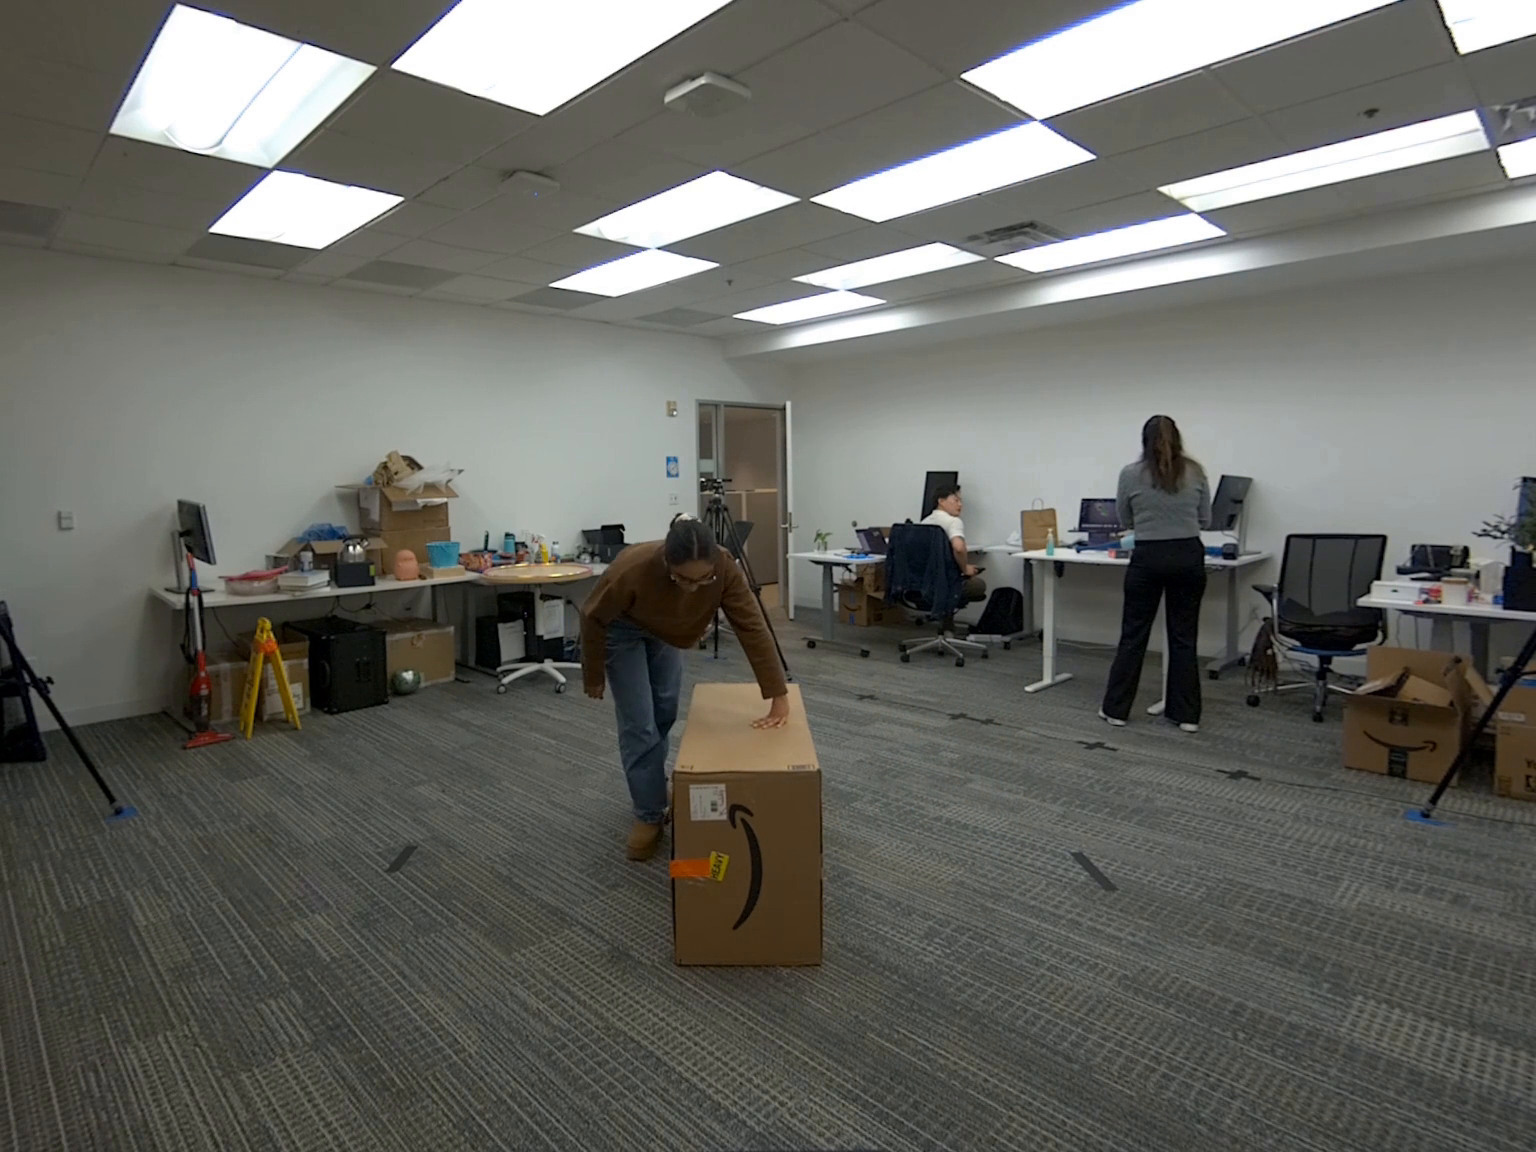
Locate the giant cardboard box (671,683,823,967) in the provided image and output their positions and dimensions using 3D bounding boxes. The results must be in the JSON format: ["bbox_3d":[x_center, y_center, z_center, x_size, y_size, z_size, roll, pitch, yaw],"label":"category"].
[{"bbox_3d":[-0.073,0.781,2.932,0.447,0.581,1.030,0,5,0],"label":"giant cardboard box"}]
